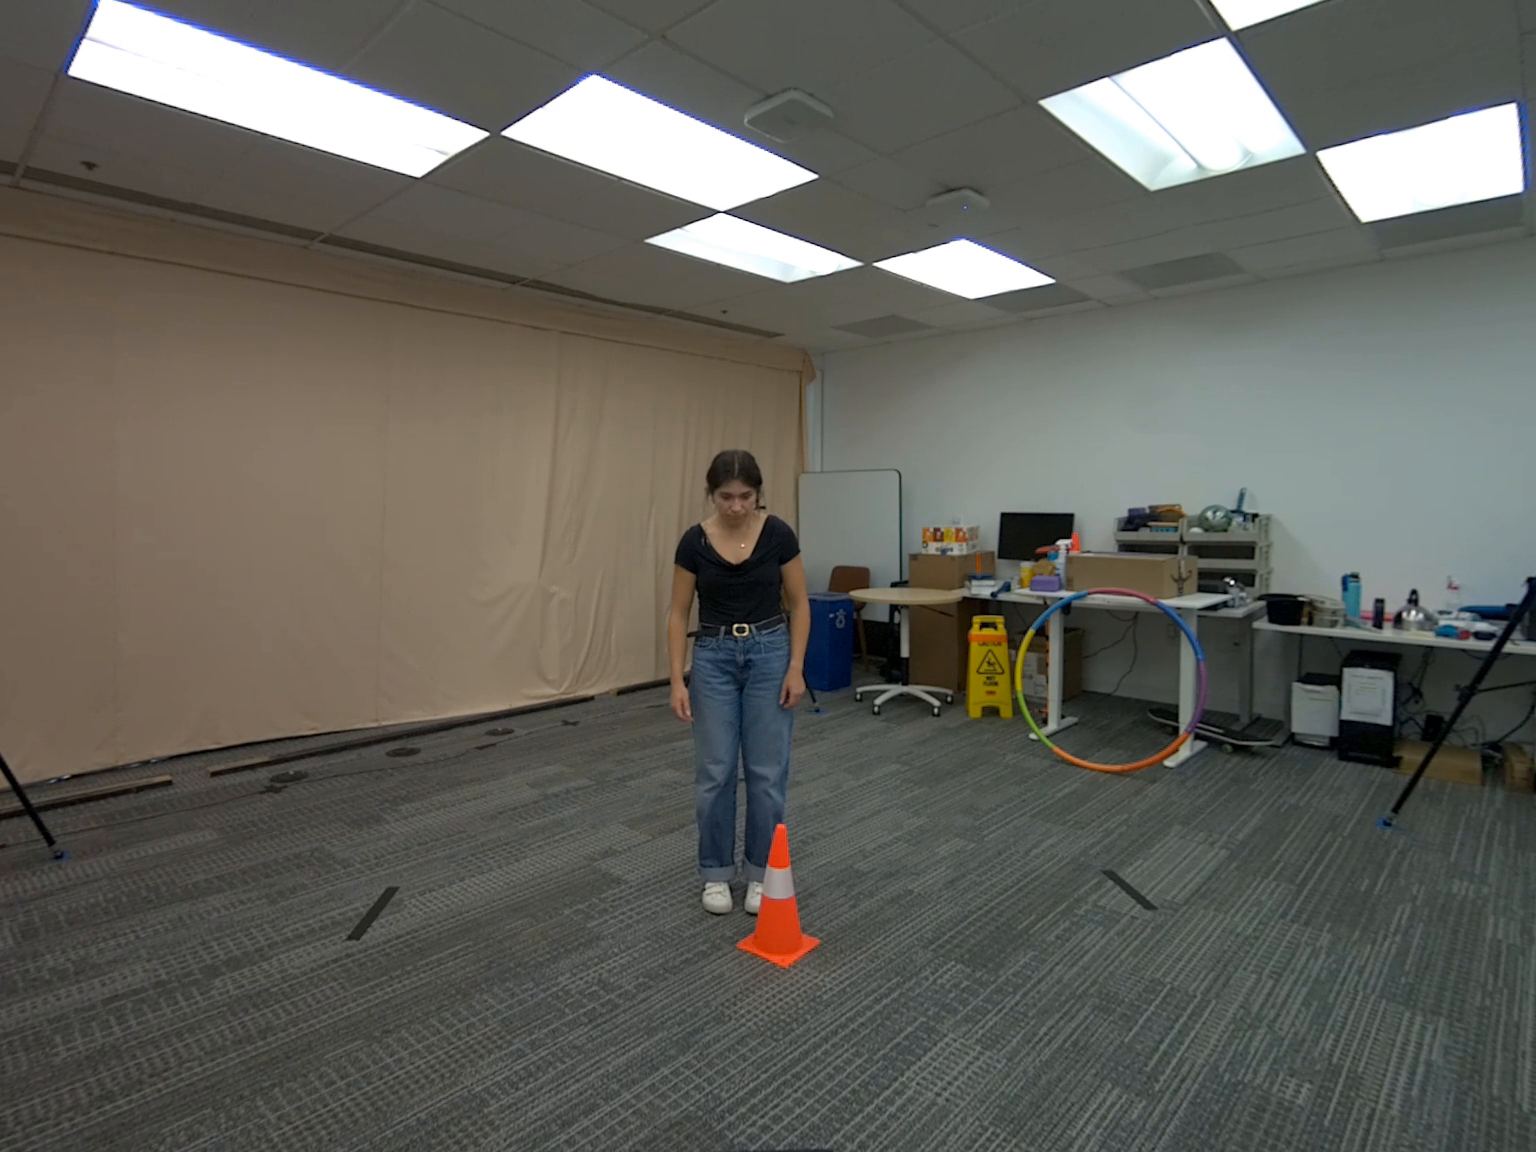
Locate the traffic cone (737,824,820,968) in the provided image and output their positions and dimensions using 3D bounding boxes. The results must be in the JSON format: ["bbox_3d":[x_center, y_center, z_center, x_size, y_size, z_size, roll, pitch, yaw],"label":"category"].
[{"bbox_3d":[0.045,0.987,2.670,0.210,0.383,0.198,4,3,41],"label":"traffic cone"}]
